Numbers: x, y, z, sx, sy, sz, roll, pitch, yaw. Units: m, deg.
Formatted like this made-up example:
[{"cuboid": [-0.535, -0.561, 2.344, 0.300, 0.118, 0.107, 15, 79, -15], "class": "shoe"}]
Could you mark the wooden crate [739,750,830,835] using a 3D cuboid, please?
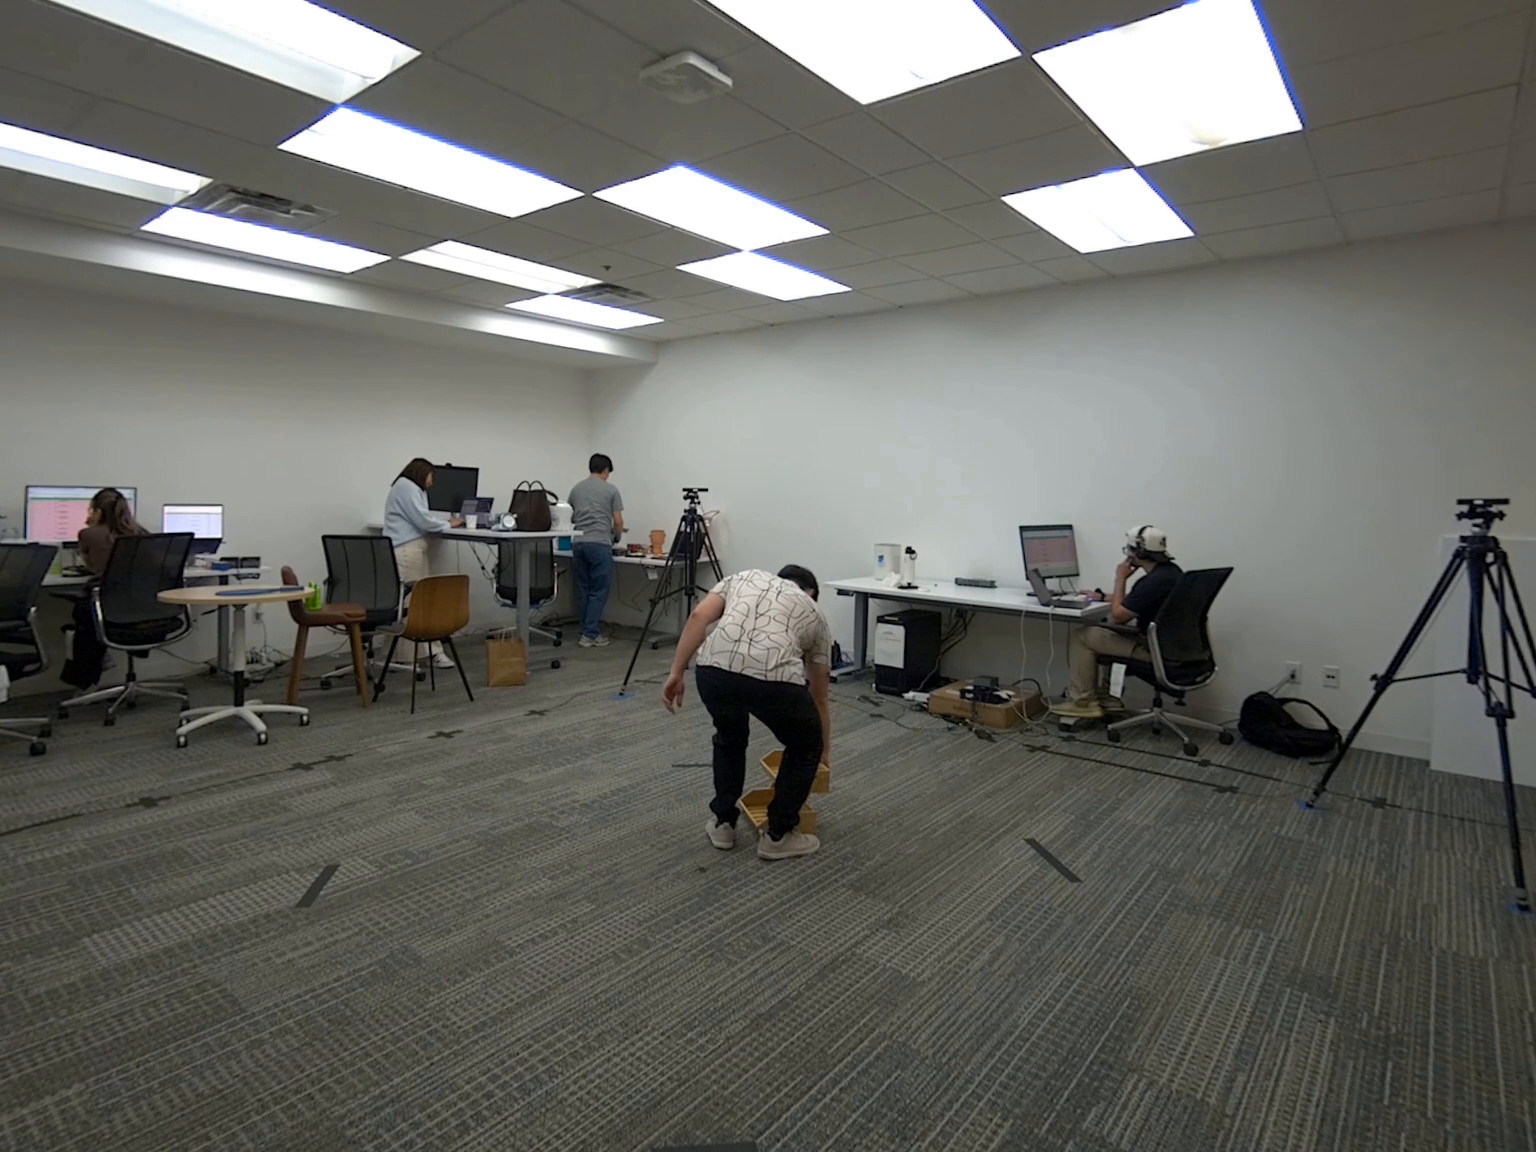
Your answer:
[{"cuboid": [0.046, 0.887, 3.557, 0.297, 0.272, 0.331, 0, 5, -15], "class": "wooden crate"}]
